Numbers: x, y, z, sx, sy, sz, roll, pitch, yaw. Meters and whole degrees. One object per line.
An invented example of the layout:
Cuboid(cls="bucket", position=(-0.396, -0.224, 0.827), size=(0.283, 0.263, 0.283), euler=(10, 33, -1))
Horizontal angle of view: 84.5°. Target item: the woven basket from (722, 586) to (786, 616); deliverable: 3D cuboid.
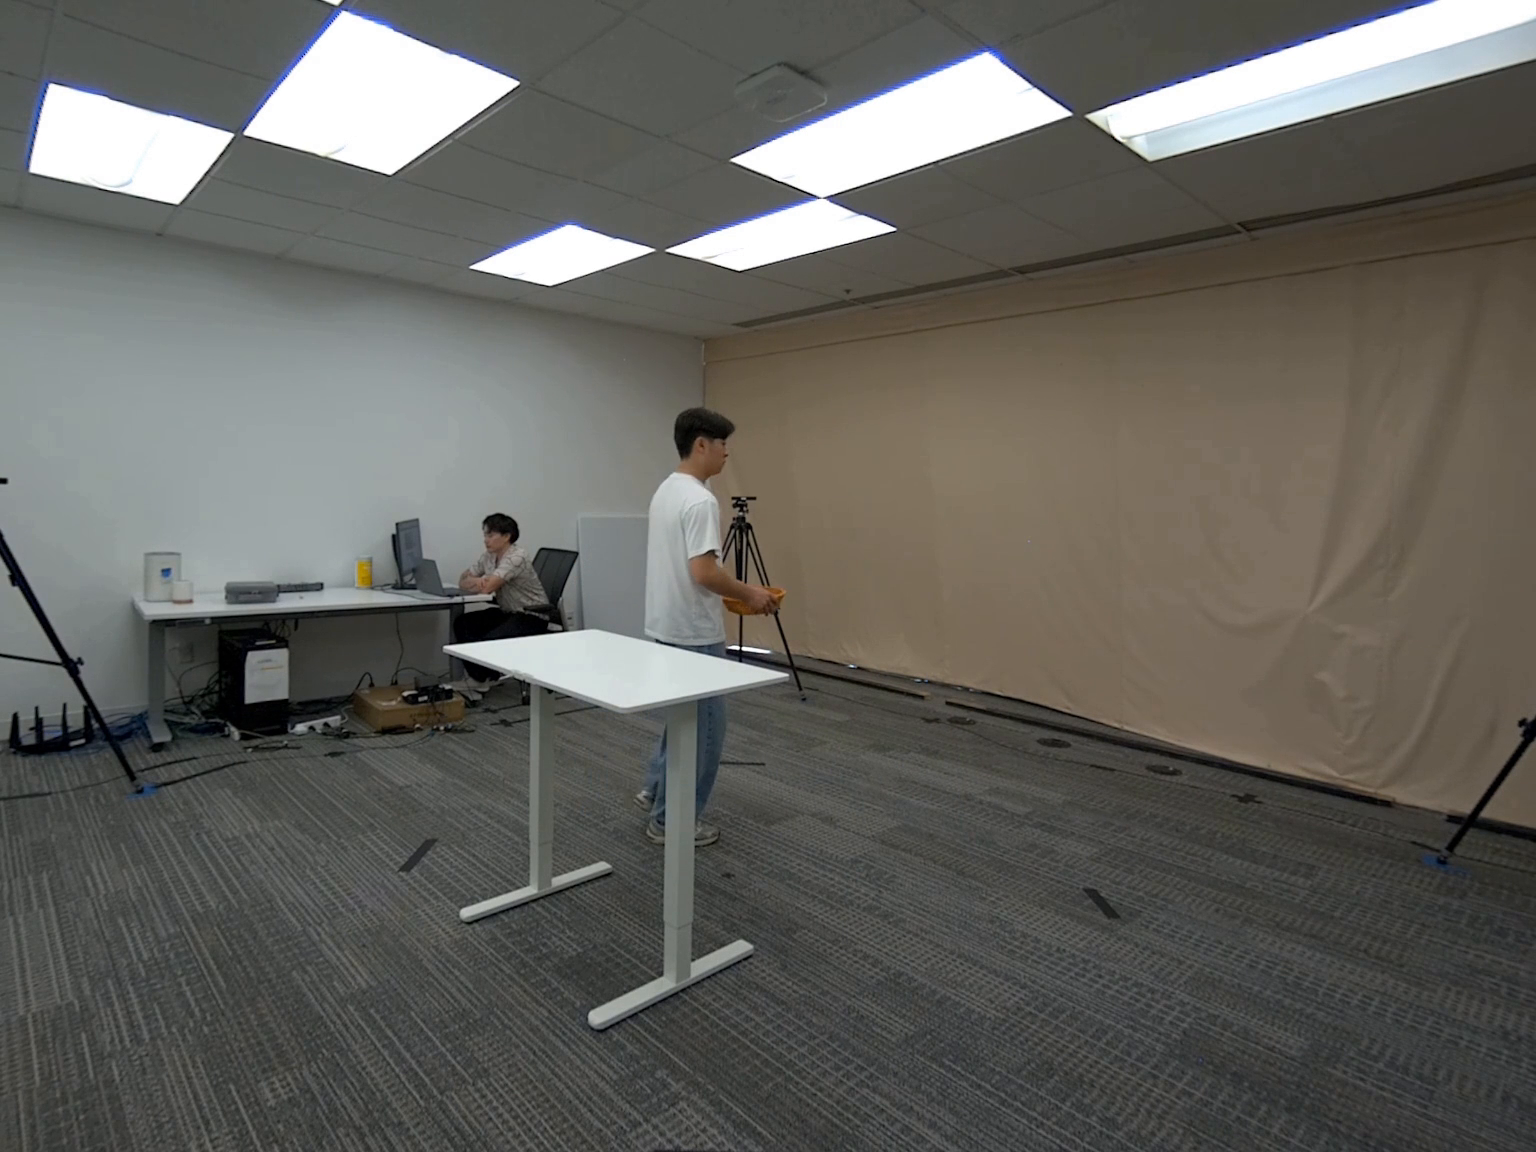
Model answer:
Cuboid(cls="woven basket", position=(-0.112, 0.108, 3.498), size=(0.248, 0.073, 0.358), euler=(-9, 9, -27))
